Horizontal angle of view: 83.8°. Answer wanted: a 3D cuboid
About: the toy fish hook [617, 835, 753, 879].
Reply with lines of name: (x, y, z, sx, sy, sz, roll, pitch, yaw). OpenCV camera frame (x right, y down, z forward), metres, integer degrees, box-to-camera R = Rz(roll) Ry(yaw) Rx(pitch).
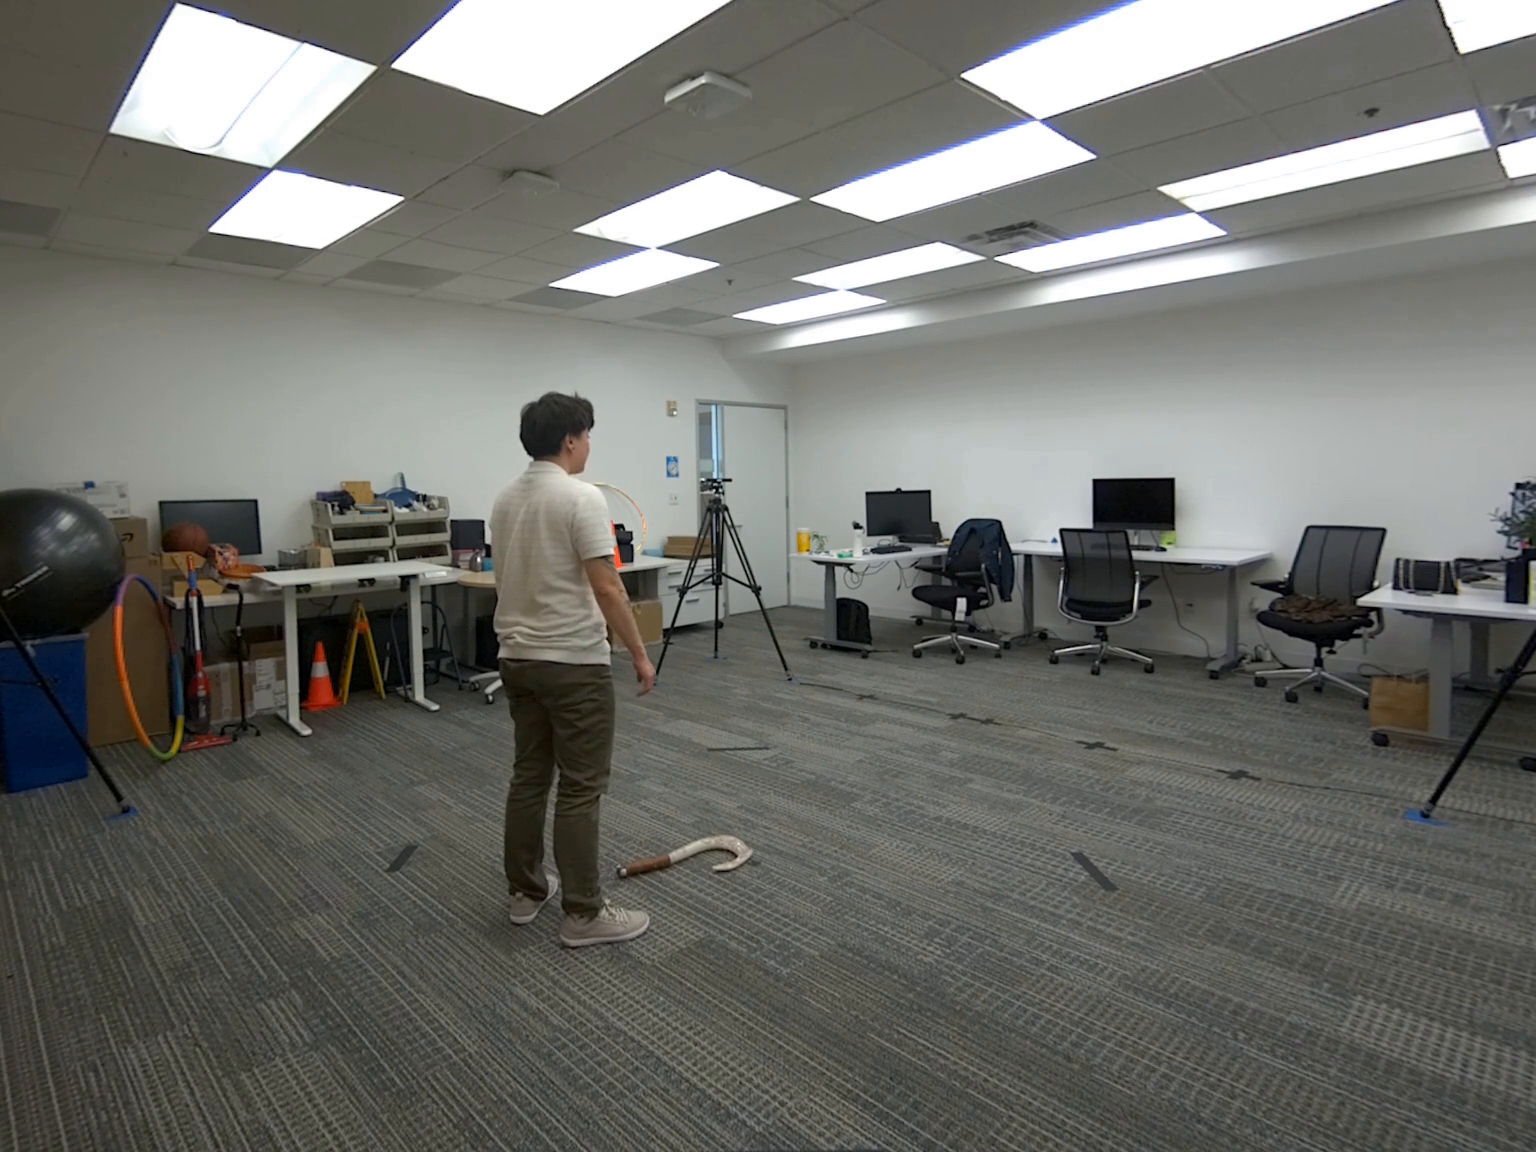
toy fish hook: (-0.287, 1.027, 3.081, 0.495, 0.048, 0.231, -5, 7, -31)
